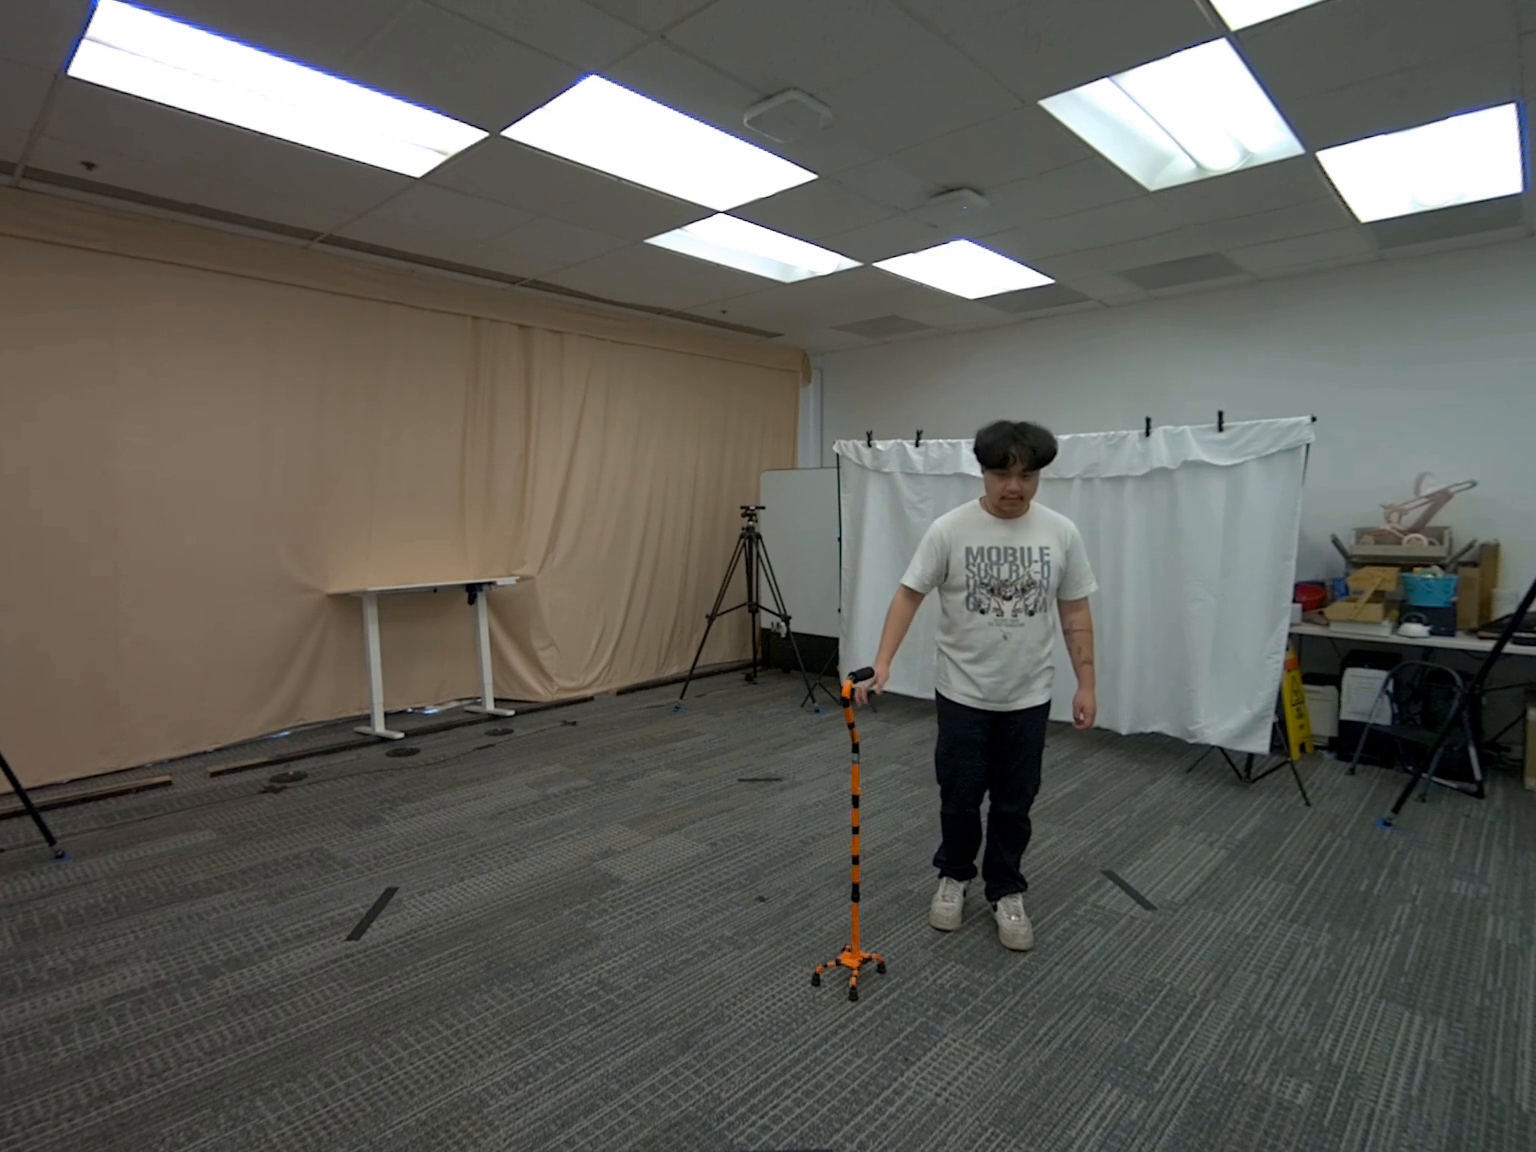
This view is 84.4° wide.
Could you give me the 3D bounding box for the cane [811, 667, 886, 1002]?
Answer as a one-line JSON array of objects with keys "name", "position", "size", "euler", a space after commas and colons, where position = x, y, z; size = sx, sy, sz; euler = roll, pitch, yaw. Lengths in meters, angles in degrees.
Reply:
[{"name": "cane", "position": [0.245, 0.738, 2.458], "size": [0.156, 0.906, 0.200], "euler": [2, 4, 37]}]
